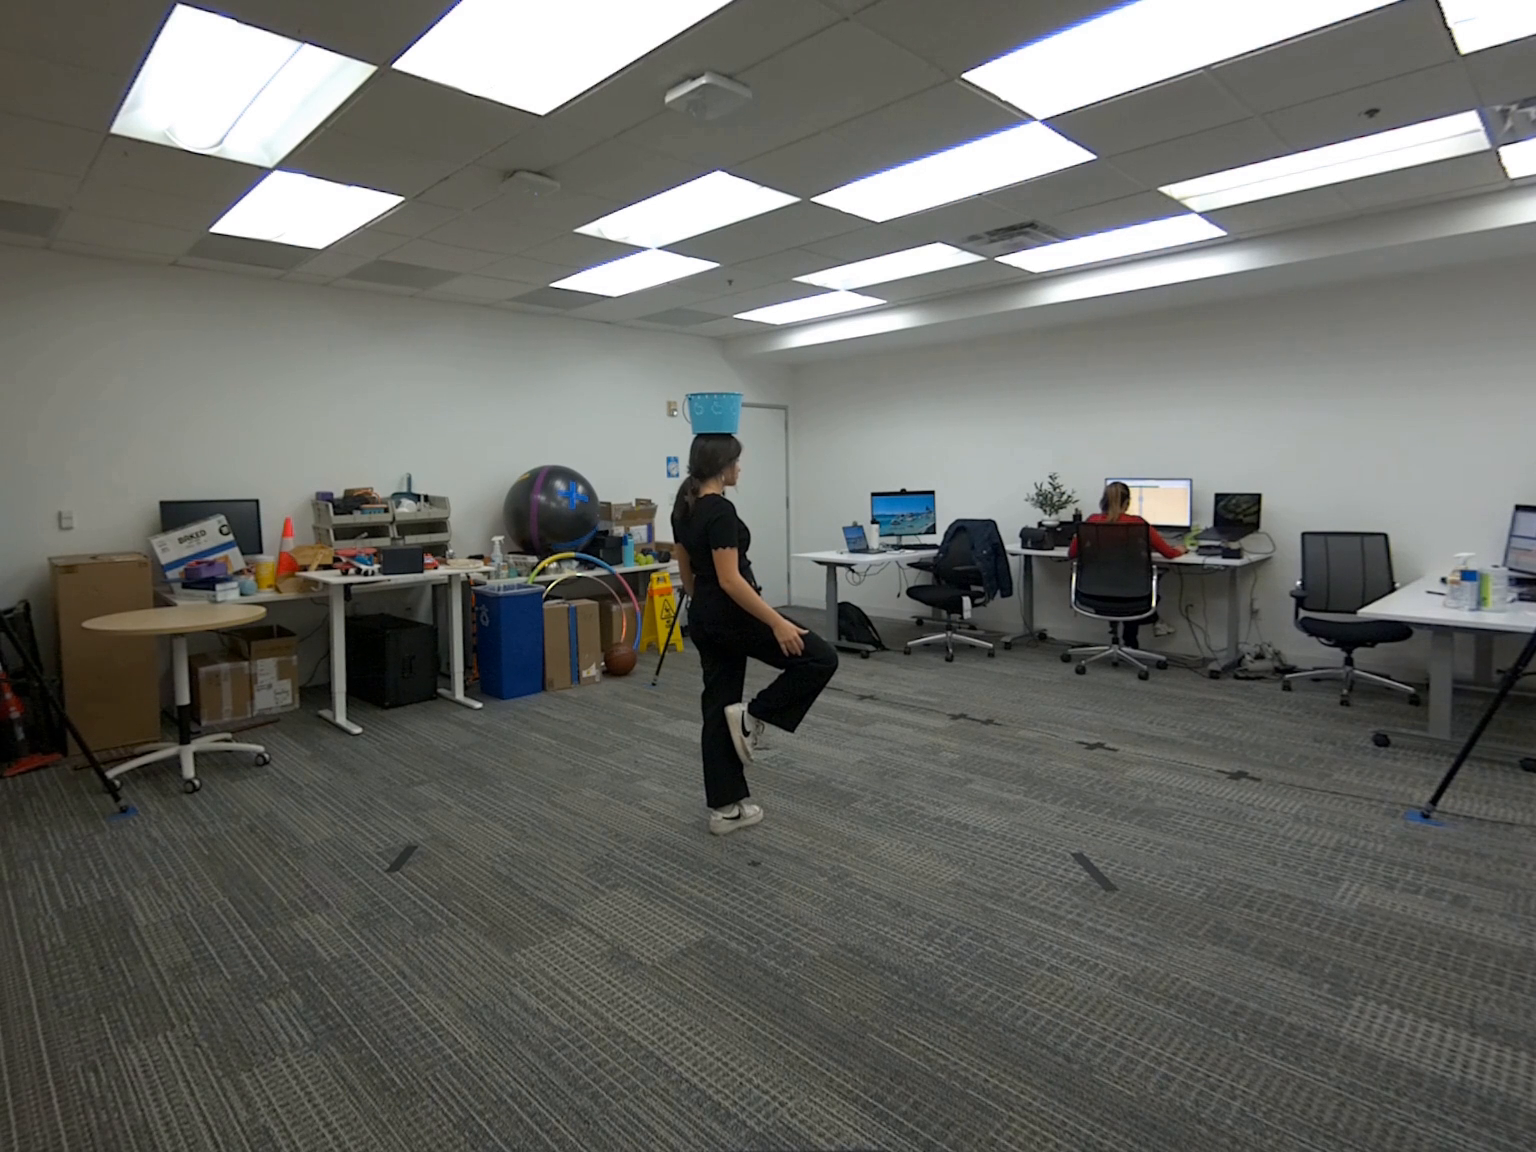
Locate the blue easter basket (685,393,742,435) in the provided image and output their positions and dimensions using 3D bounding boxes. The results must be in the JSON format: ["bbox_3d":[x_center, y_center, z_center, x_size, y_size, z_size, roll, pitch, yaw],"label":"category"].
[{"bbox_3d":[-0.214,-0.639,3.360,0.243,0.155,0.245,0,5,-2],"label":"blue easter basket"}]
